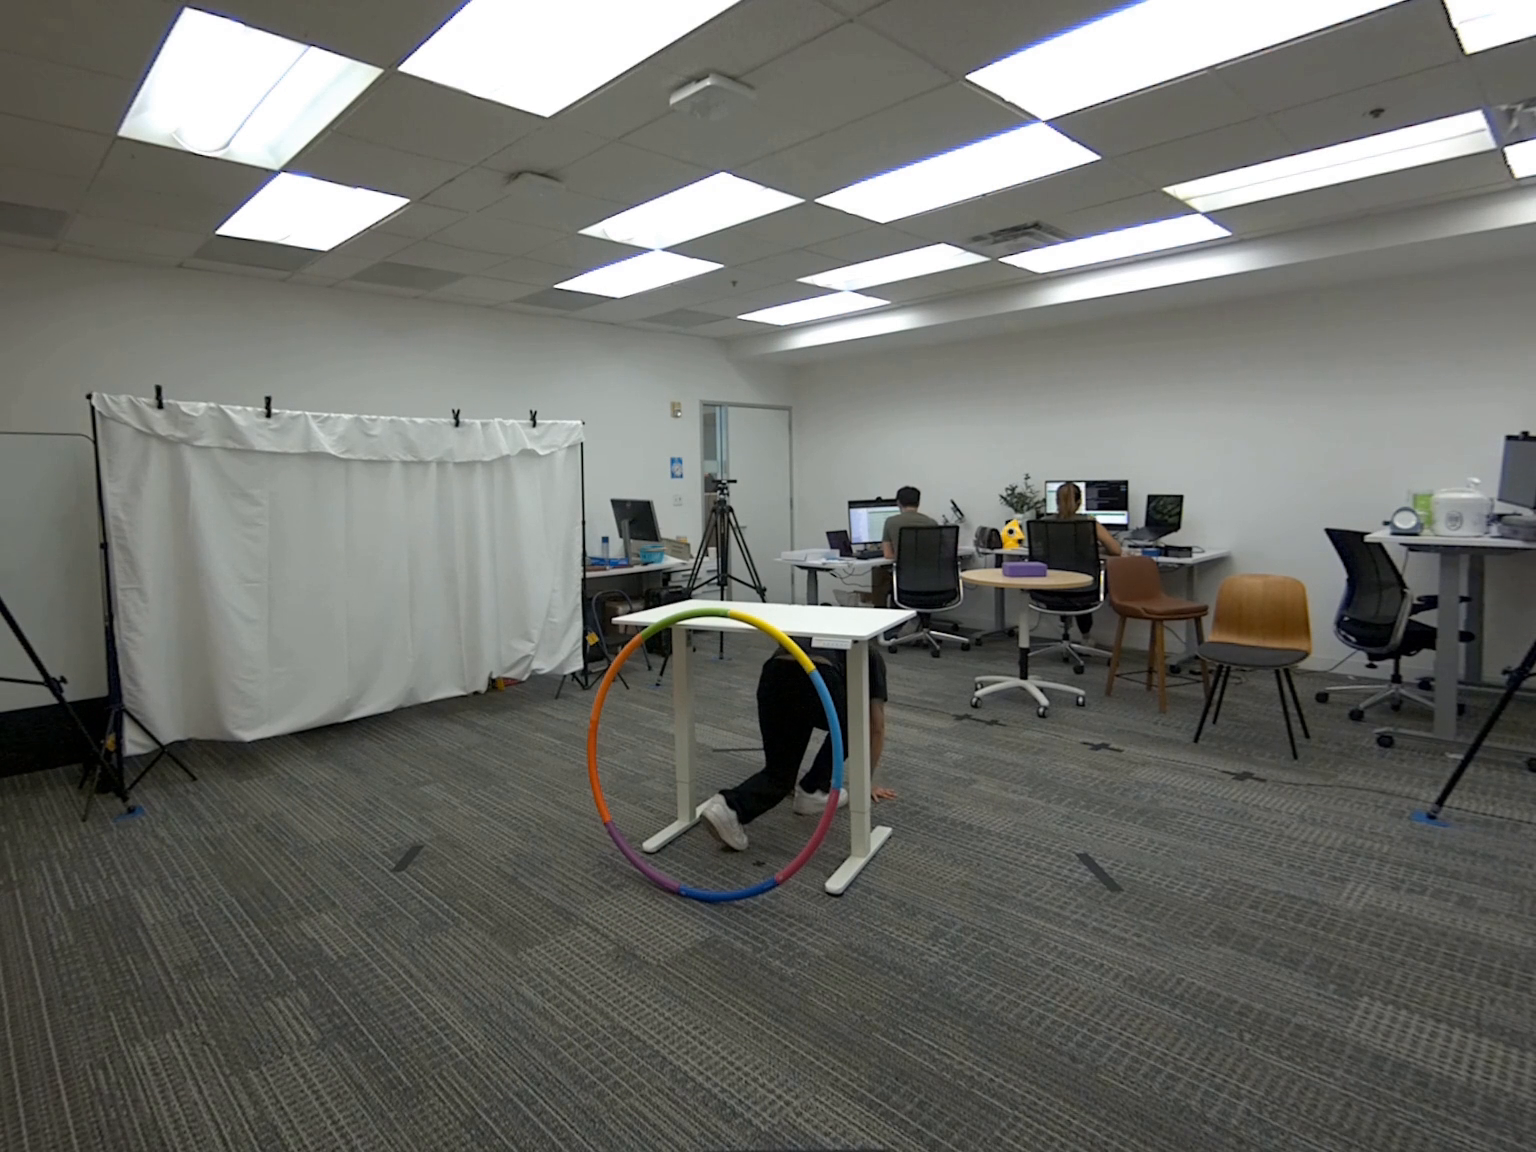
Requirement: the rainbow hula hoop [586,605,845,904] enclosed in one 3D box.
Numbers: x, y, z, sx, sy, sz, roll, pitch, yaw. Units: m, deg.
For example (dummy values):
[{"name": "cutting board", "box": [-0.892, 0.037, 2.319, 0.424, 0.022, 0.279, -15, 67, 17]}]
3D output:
[{"name": "rainbow hula hoop", "box": [-0.213, 0.599, 2.928, 1.003, 0.984, 0.034, 1, -8, 28]}]
